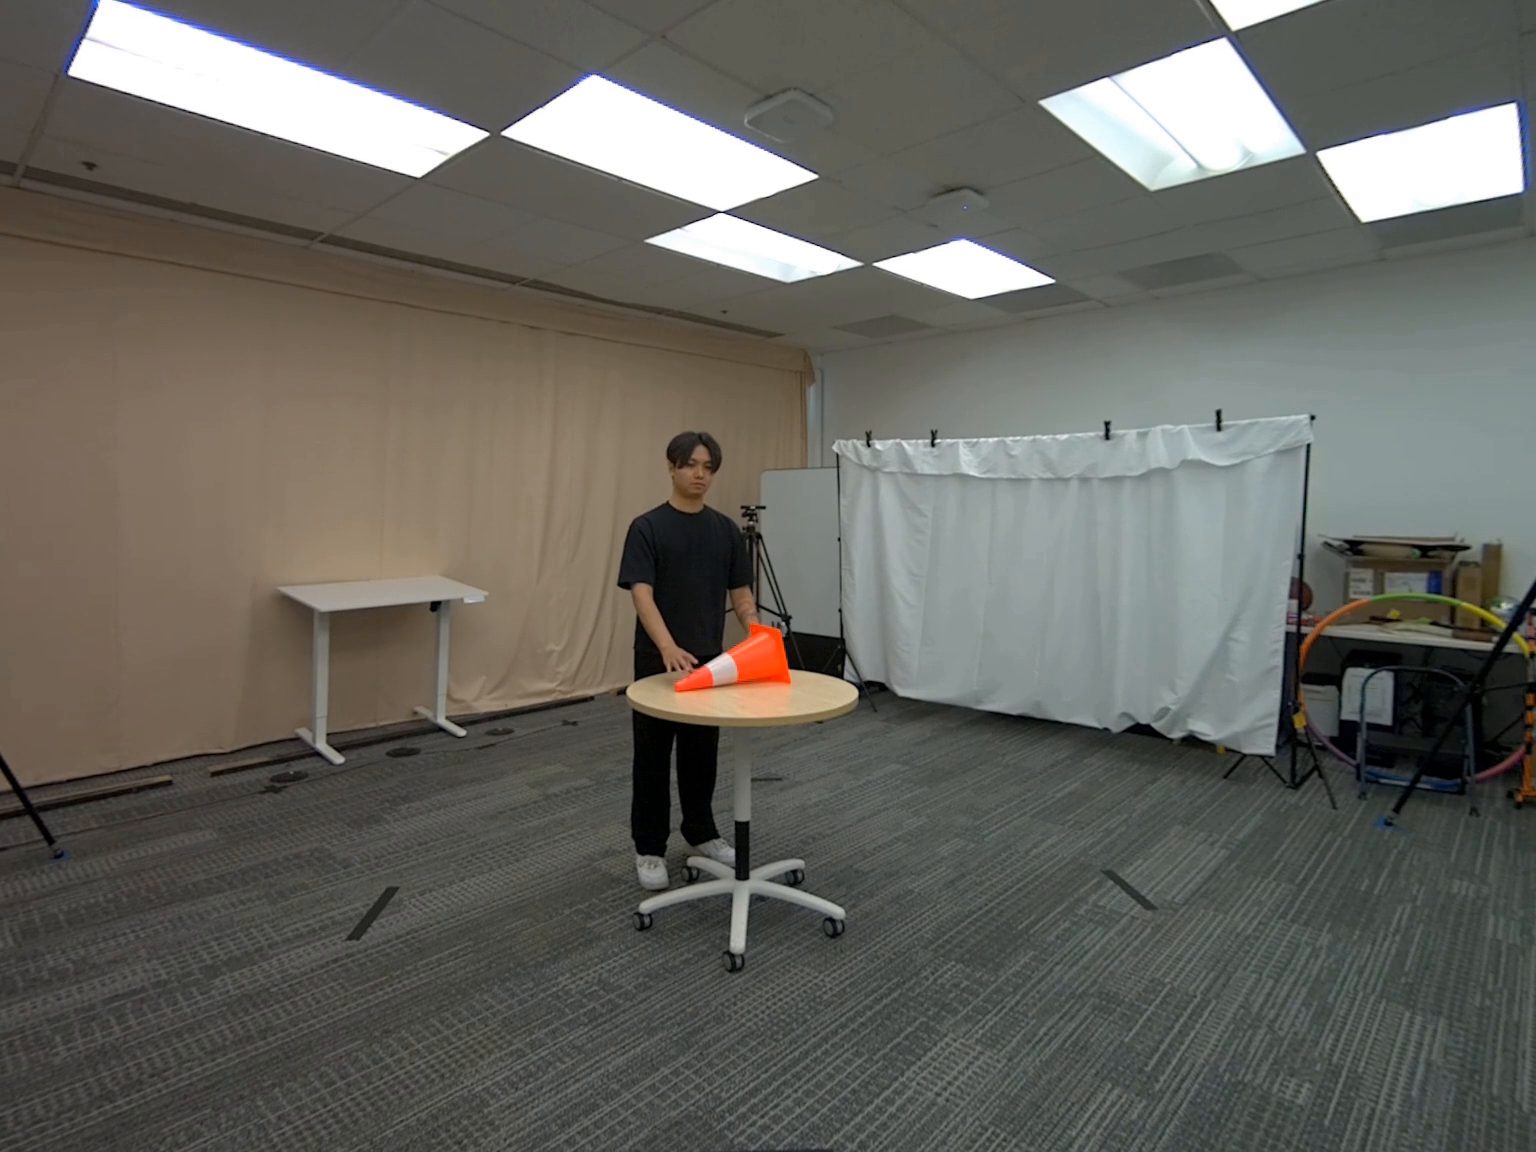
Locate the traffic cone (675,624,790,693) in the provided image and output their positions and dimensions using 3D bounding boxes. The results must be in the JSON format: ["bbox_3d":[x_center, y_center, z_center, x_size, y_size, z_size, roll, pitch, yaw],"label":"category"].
[{"bbox_3d":[-0.151,0.318,2.848,0.375,0.203,0.210,-16,12,-31],"label":"traffic cone"}]
